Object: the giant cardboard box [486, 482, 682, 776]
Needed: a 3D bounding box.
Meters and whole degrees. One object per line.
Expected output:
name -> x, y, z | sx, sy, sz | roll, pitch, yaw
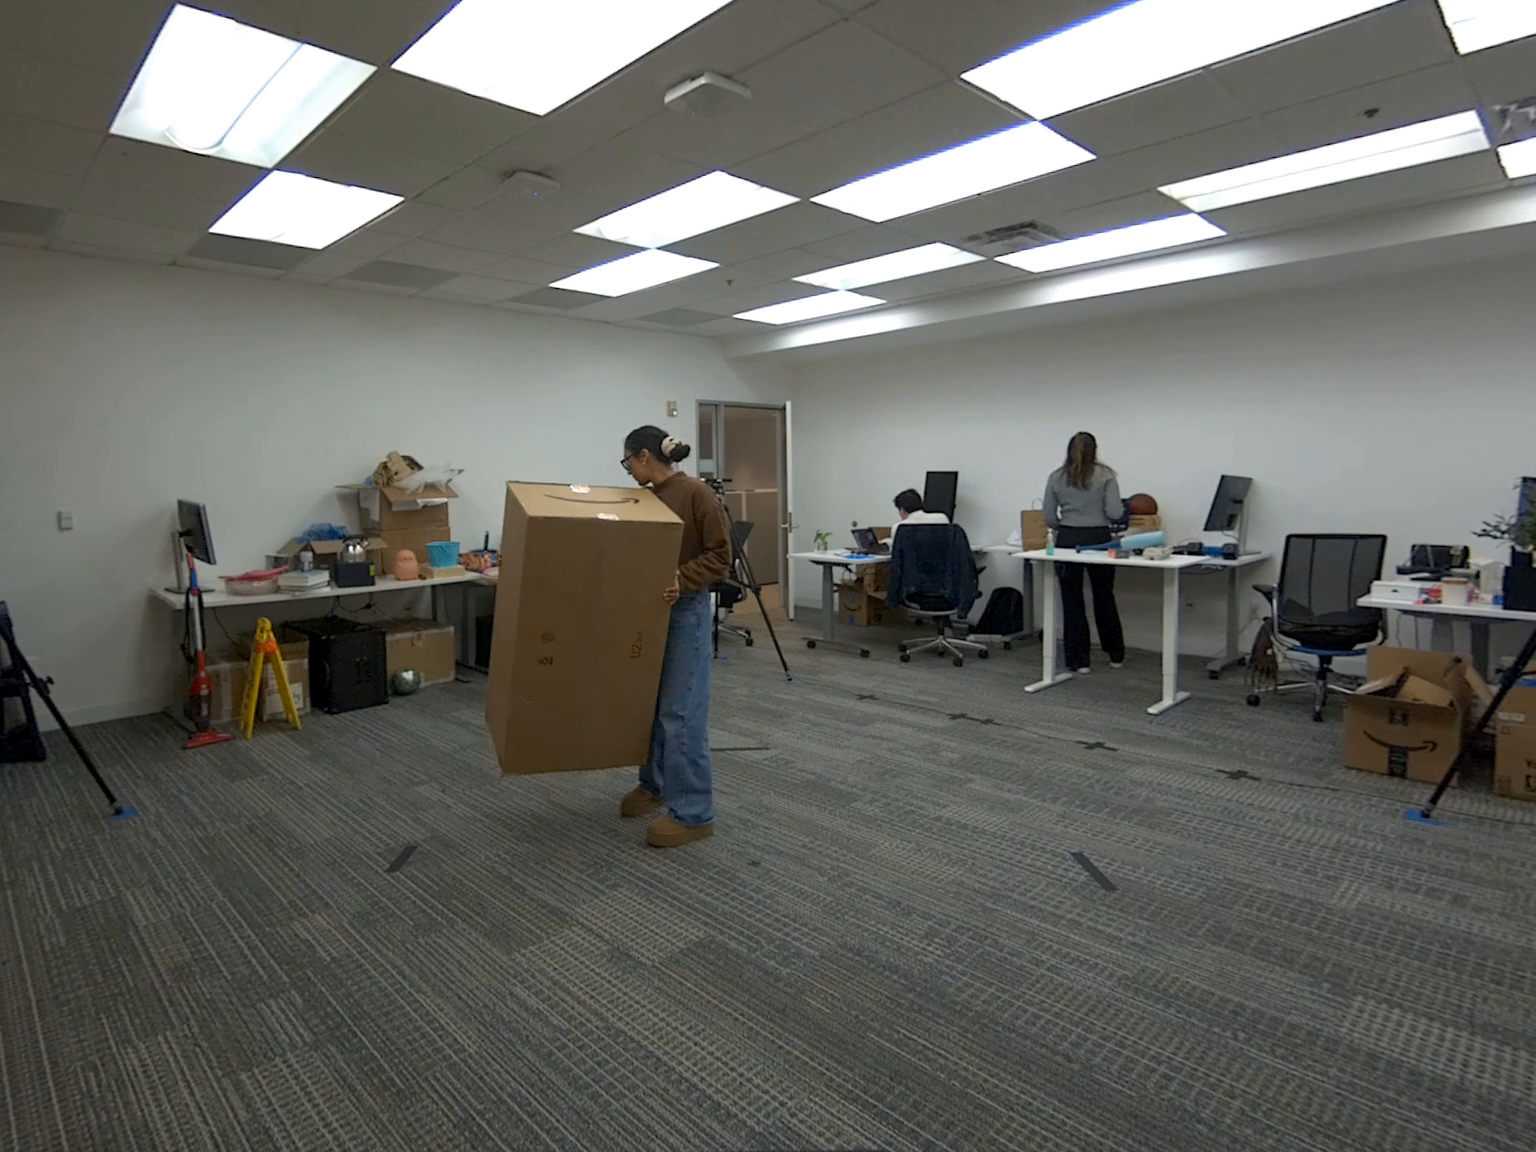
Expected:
giant cardboard box -> -0.732, 0.199, 3.310 | 0.564, 1.013, 0.441 | 2, 19, -27
